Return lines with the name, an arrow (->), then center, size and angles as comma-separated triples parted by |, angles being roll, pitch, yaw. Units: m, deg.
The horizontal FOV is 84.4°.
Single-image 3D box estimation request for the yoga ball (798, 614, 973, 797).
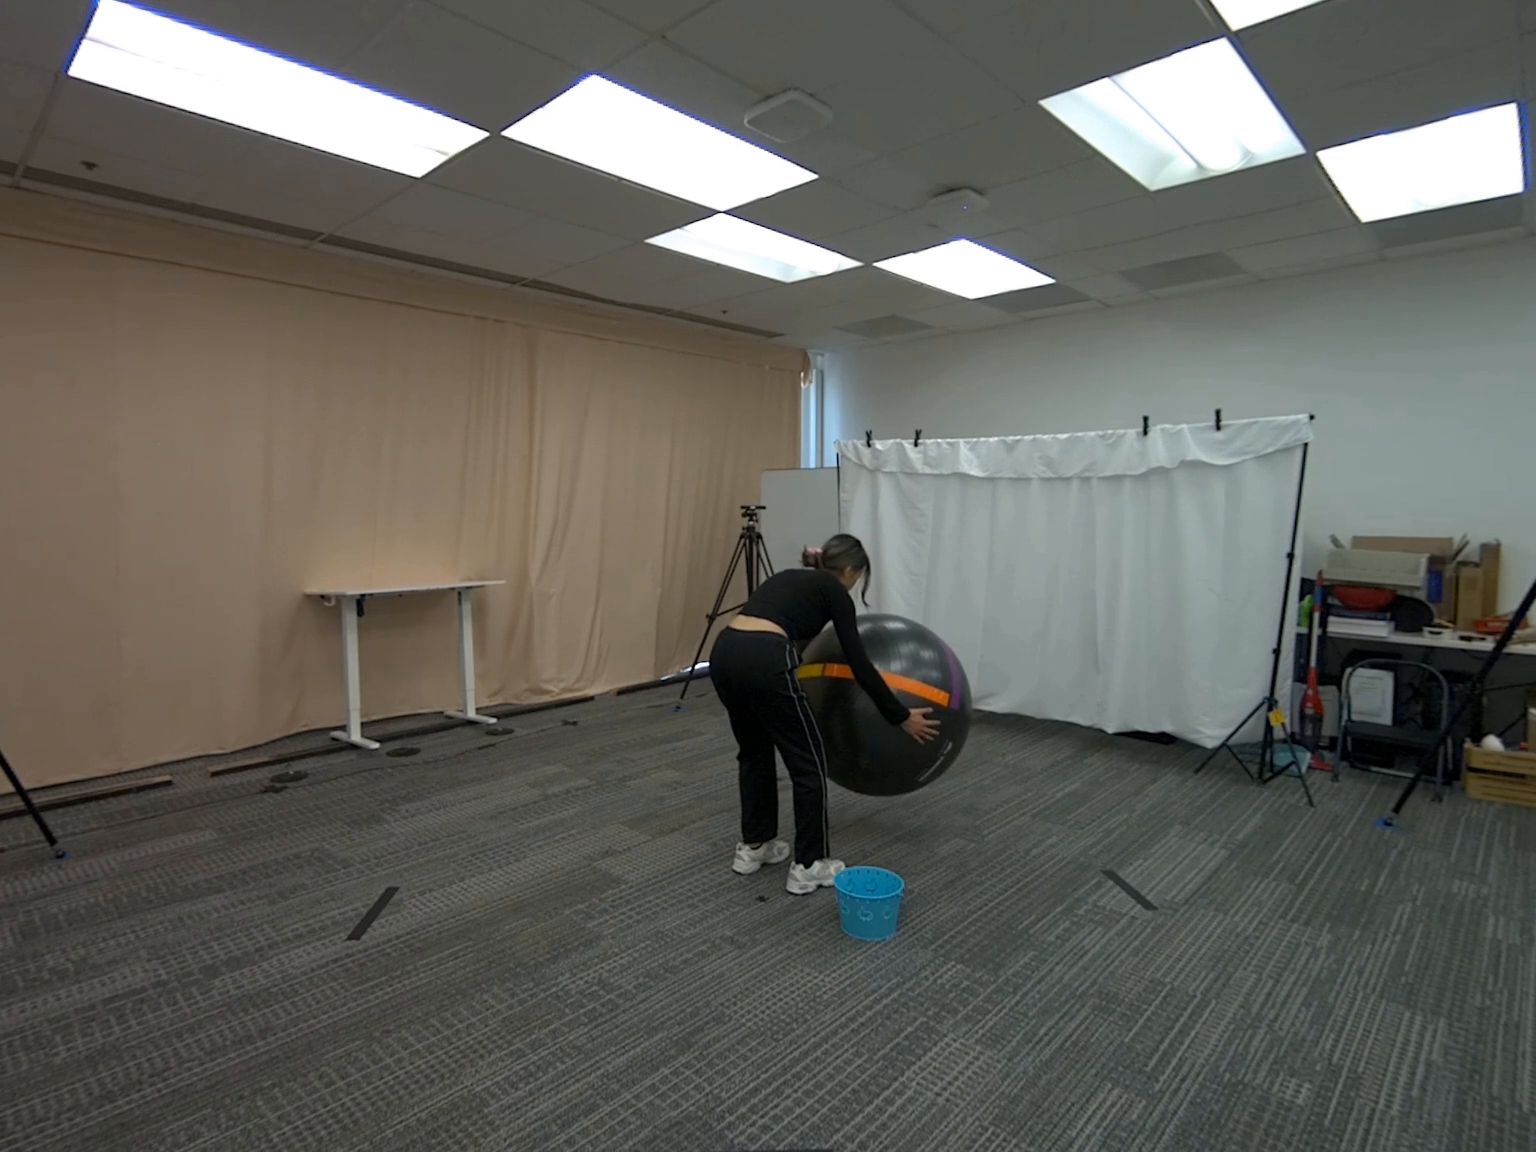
yoga ball -> 0.485, 0.537, 3.570 | 0.757, 0.756, 0.760 | 0, 4, -2
